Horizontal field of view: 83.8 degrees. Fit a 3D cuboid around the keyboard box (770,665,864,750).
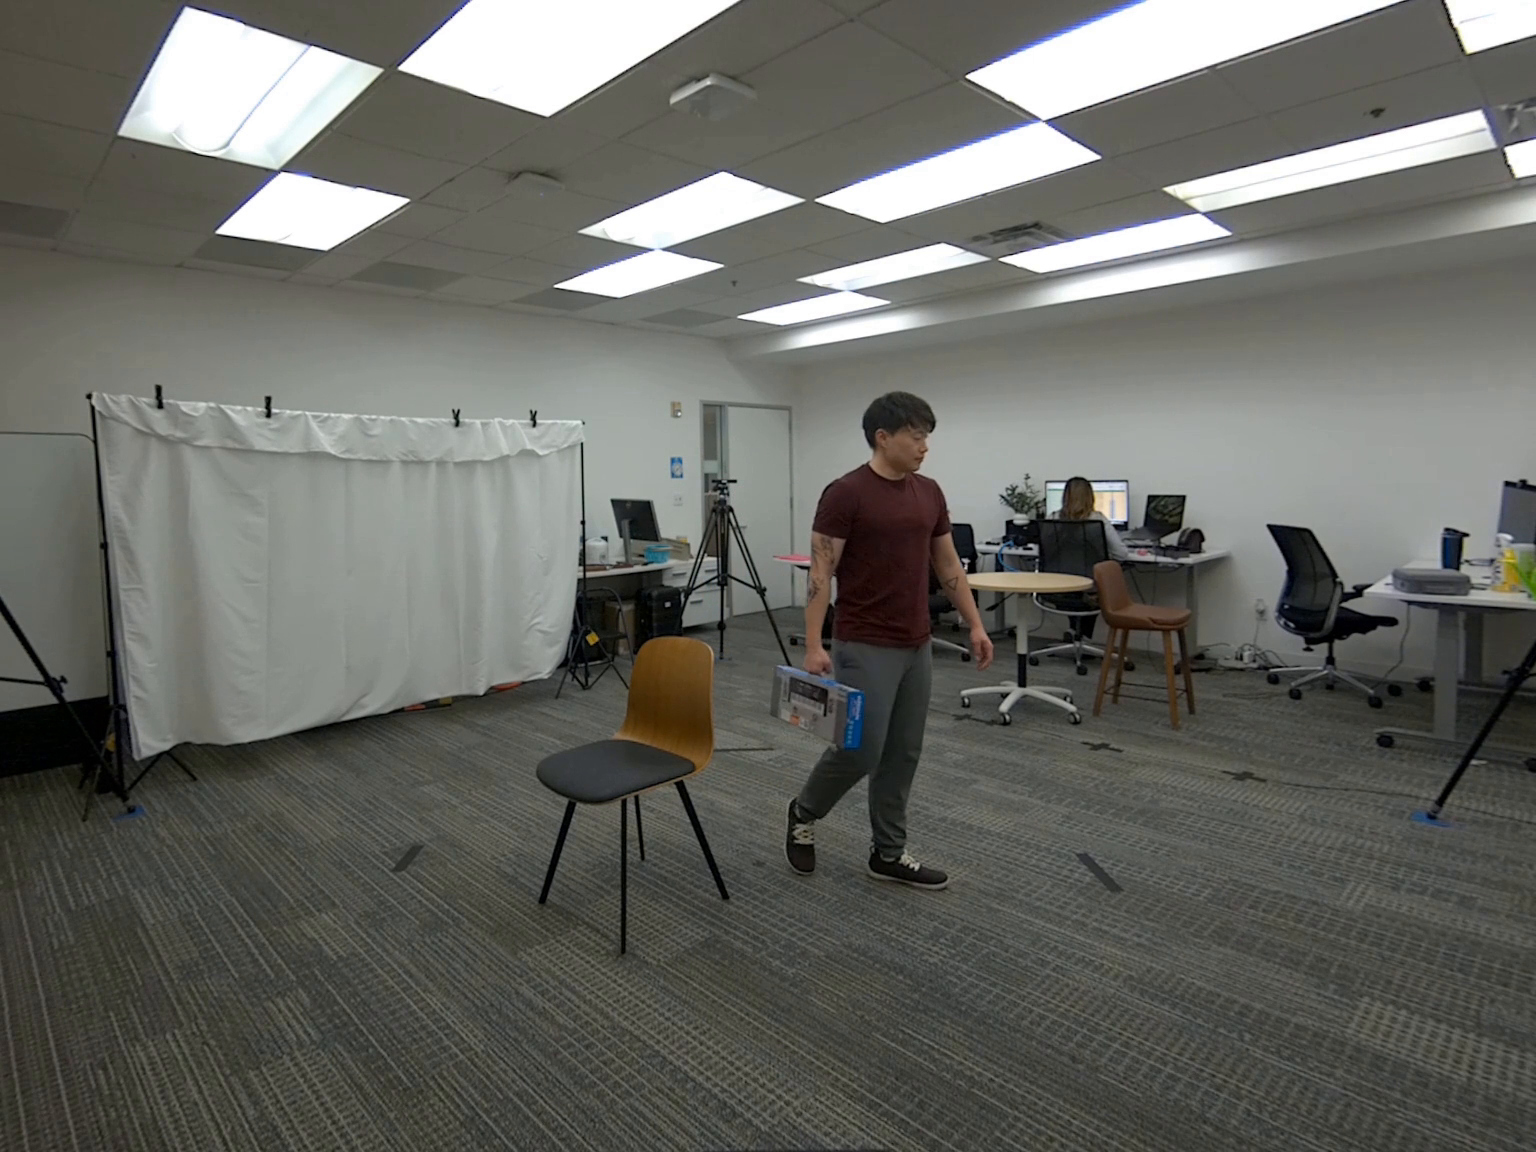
[{"bbox_3d":[0.161,0.414,2.765,0.058,0.176,0.448,3,3,-27],"label":"keyboard box"}]
